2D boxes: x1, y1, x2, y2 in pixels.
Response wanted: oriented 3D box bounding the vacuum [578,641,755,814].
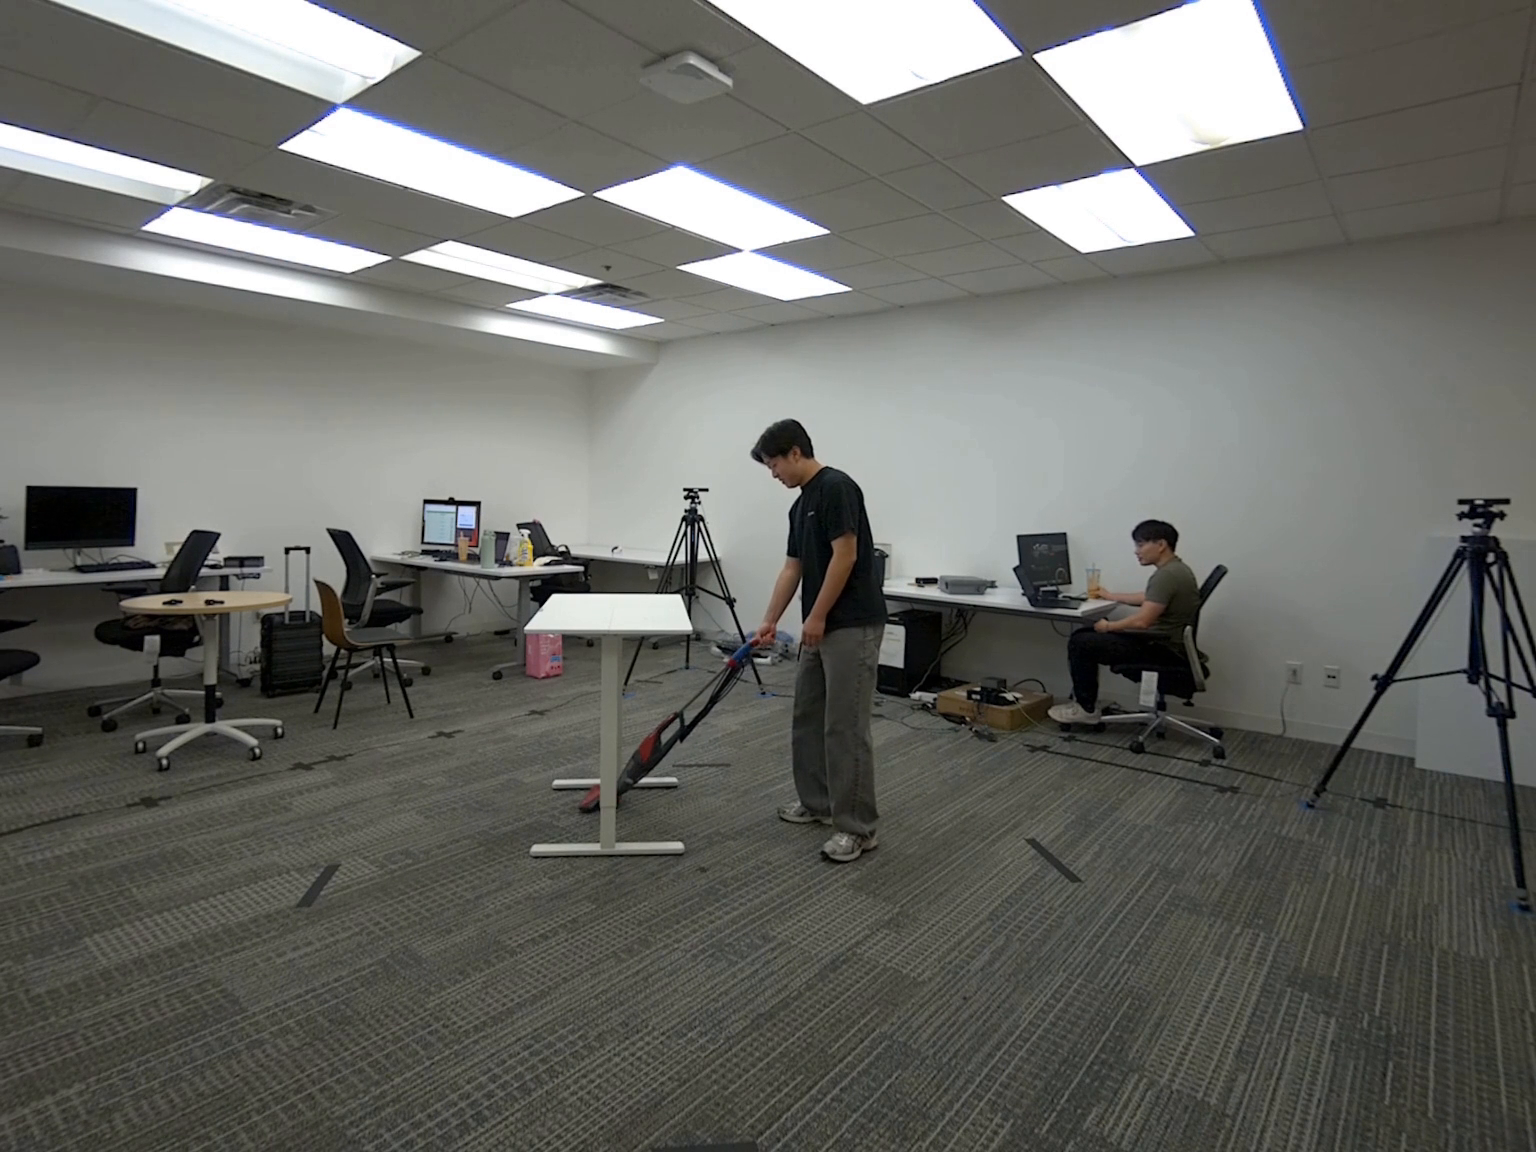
[{"bbox_3d":[-0.360,0.618,3.683,1.050,0.146,0.249,-43,-7,7],"label":"vacuum"}]
